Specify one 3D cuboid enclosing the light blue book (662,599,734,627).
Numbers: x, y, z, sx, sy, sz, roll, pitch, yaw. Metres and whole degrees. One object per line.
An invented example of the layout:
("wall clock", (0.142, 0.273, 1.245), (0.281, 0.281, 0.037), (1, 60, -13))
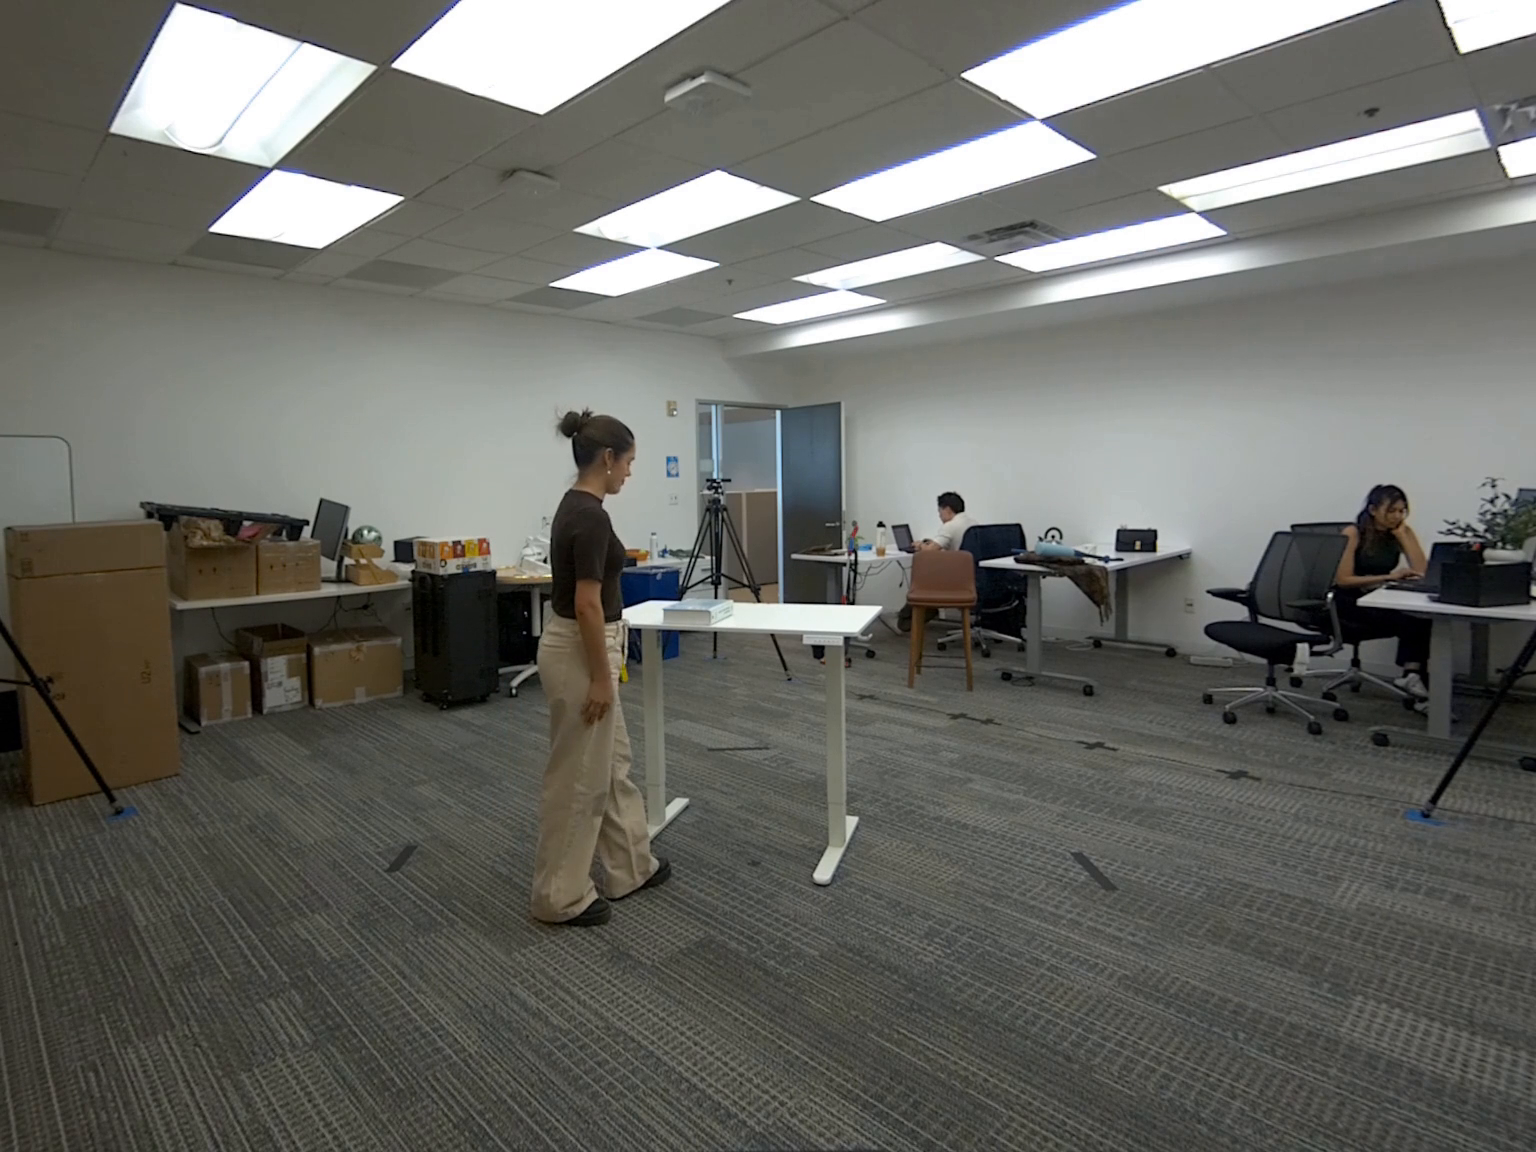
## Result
("light blue book", (-0.260, 0.131, 3.151), (0.194, 0.059, 0.258), (0, 6, 17))
